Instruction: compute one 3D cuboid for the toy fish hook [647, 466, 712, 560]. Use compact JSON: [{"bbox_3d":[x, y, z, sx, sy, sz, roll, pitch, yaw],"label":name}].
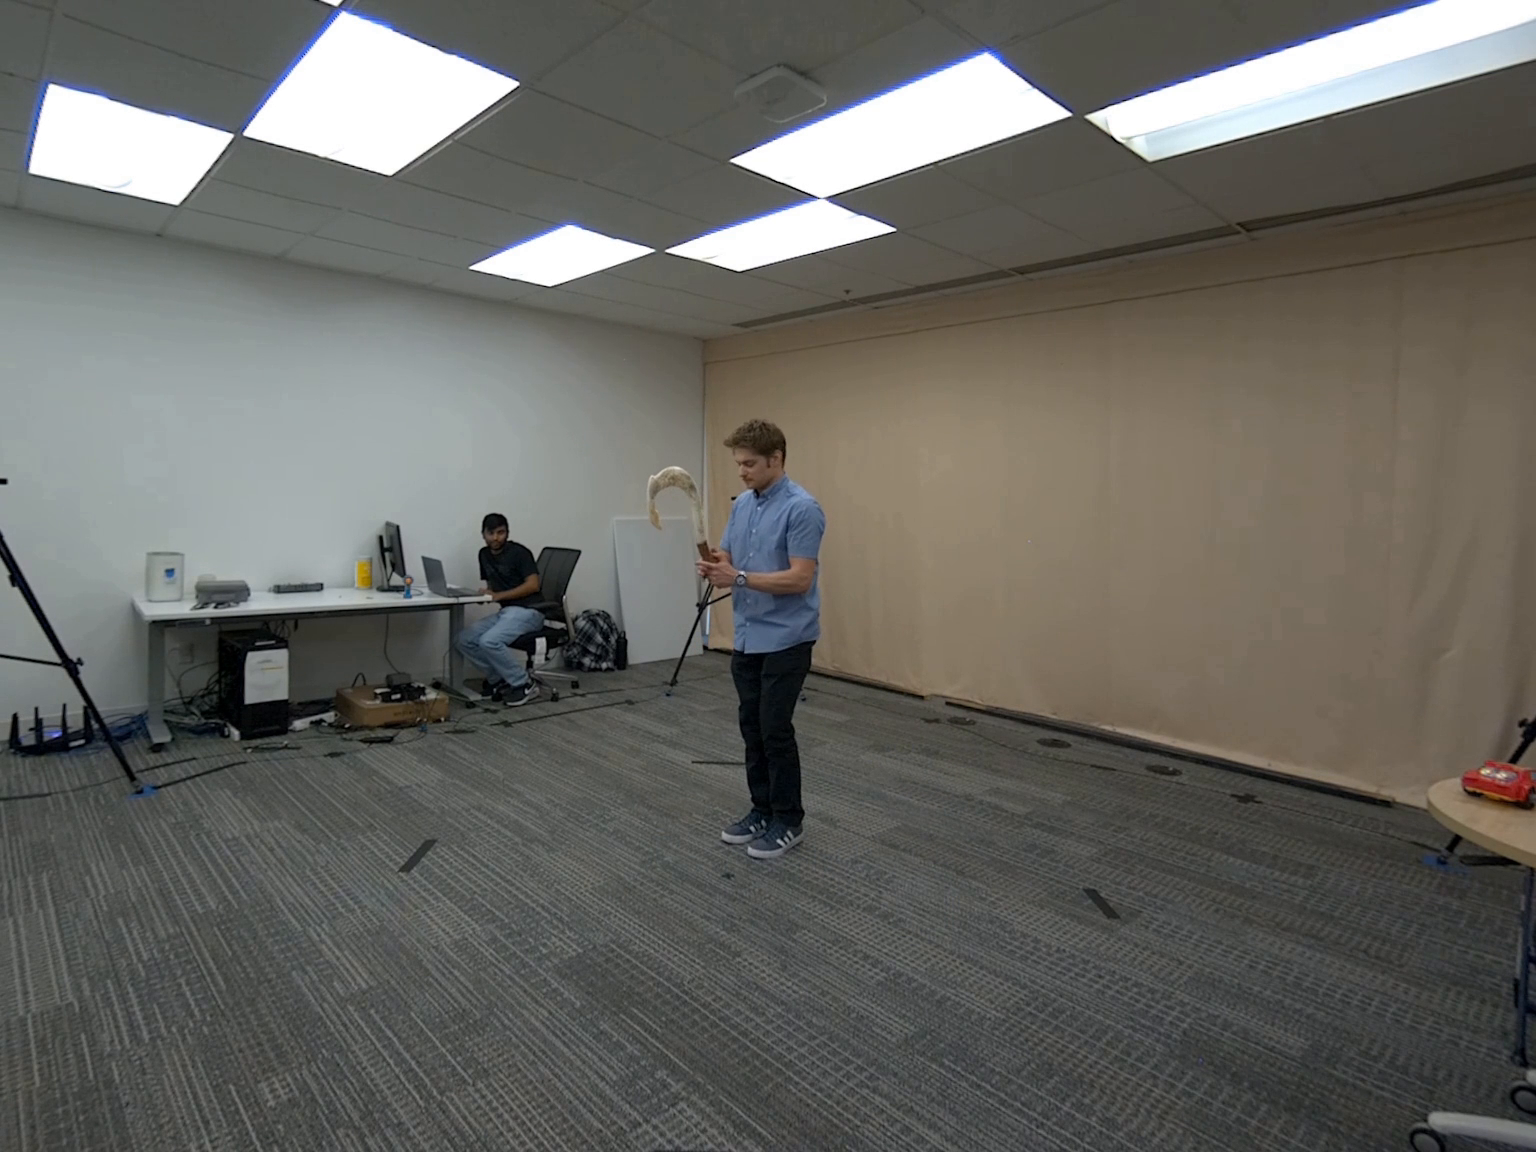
[{"bbox_3d":[-0.310,-0.152,3.126,0.223,0.499,0.049,-29,16,-24],"label":"toy fish hook"}]
